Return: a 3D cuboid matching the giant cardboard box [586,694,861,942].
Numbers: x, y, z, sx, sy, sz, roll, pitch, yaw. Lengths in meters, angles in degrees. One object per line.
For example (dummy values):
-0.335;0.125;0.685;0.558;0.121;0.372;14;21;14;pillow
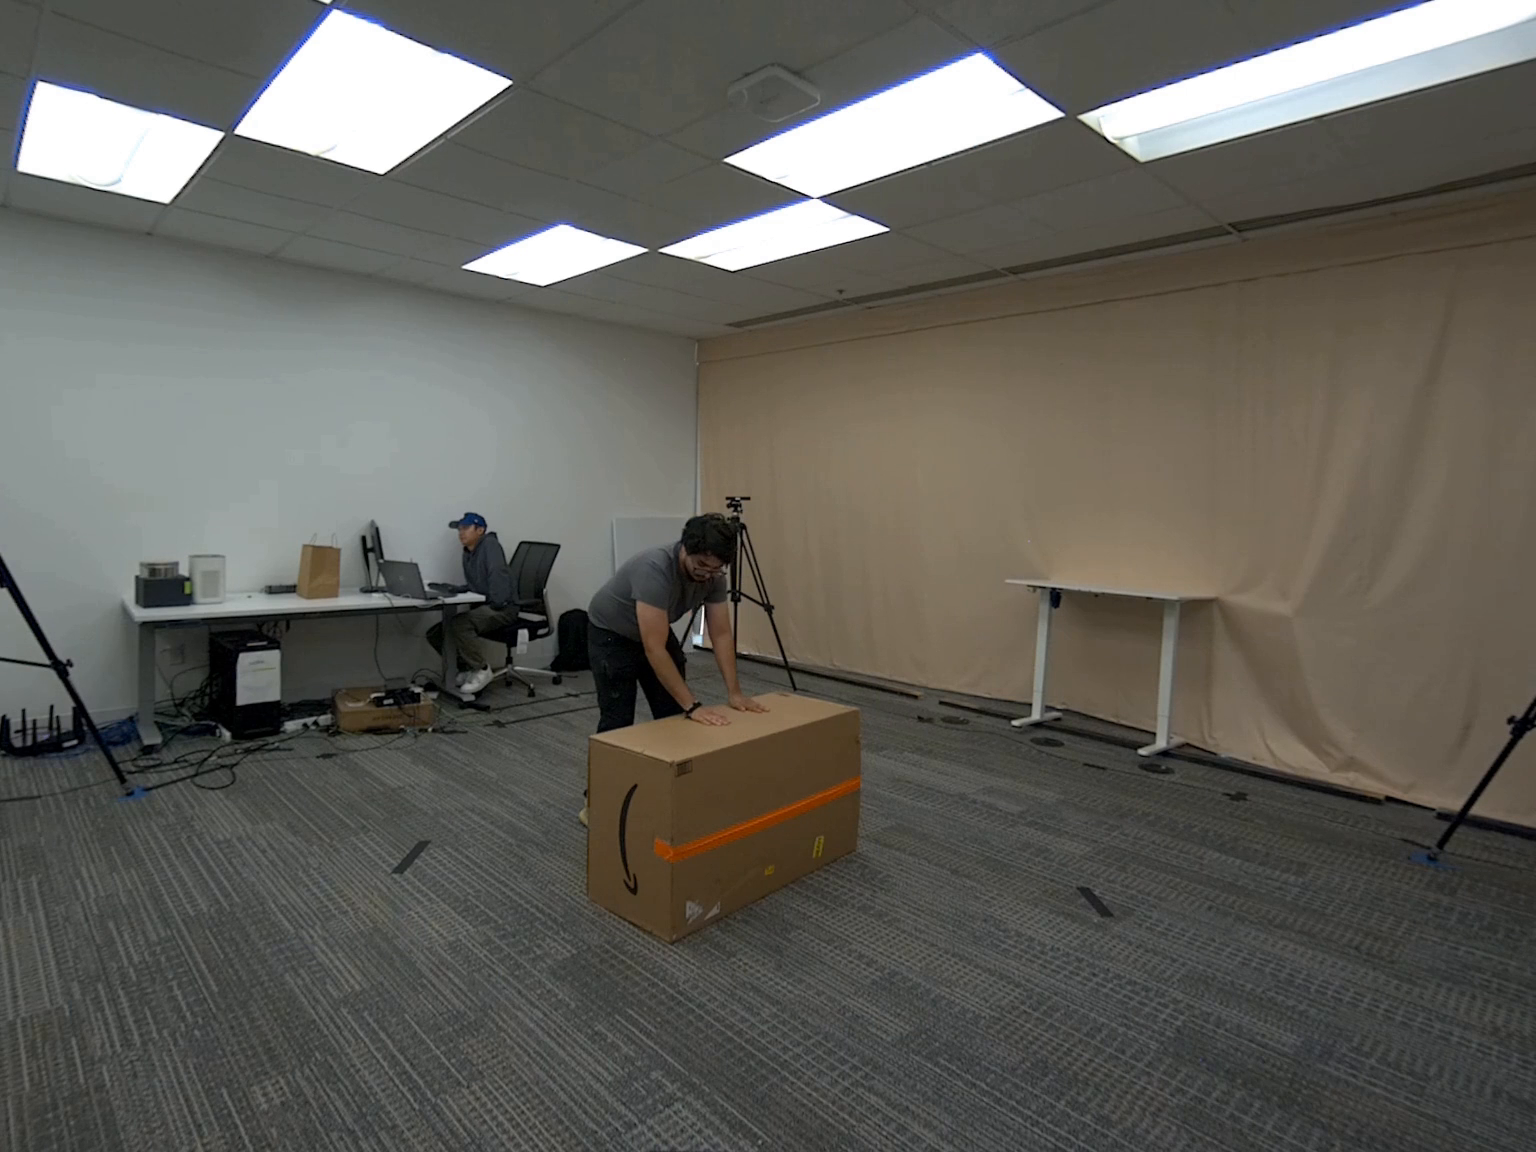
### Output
-0.130;0.818;3.107;0.437;0.576;1.003;4;6;41;giant cardboard box
